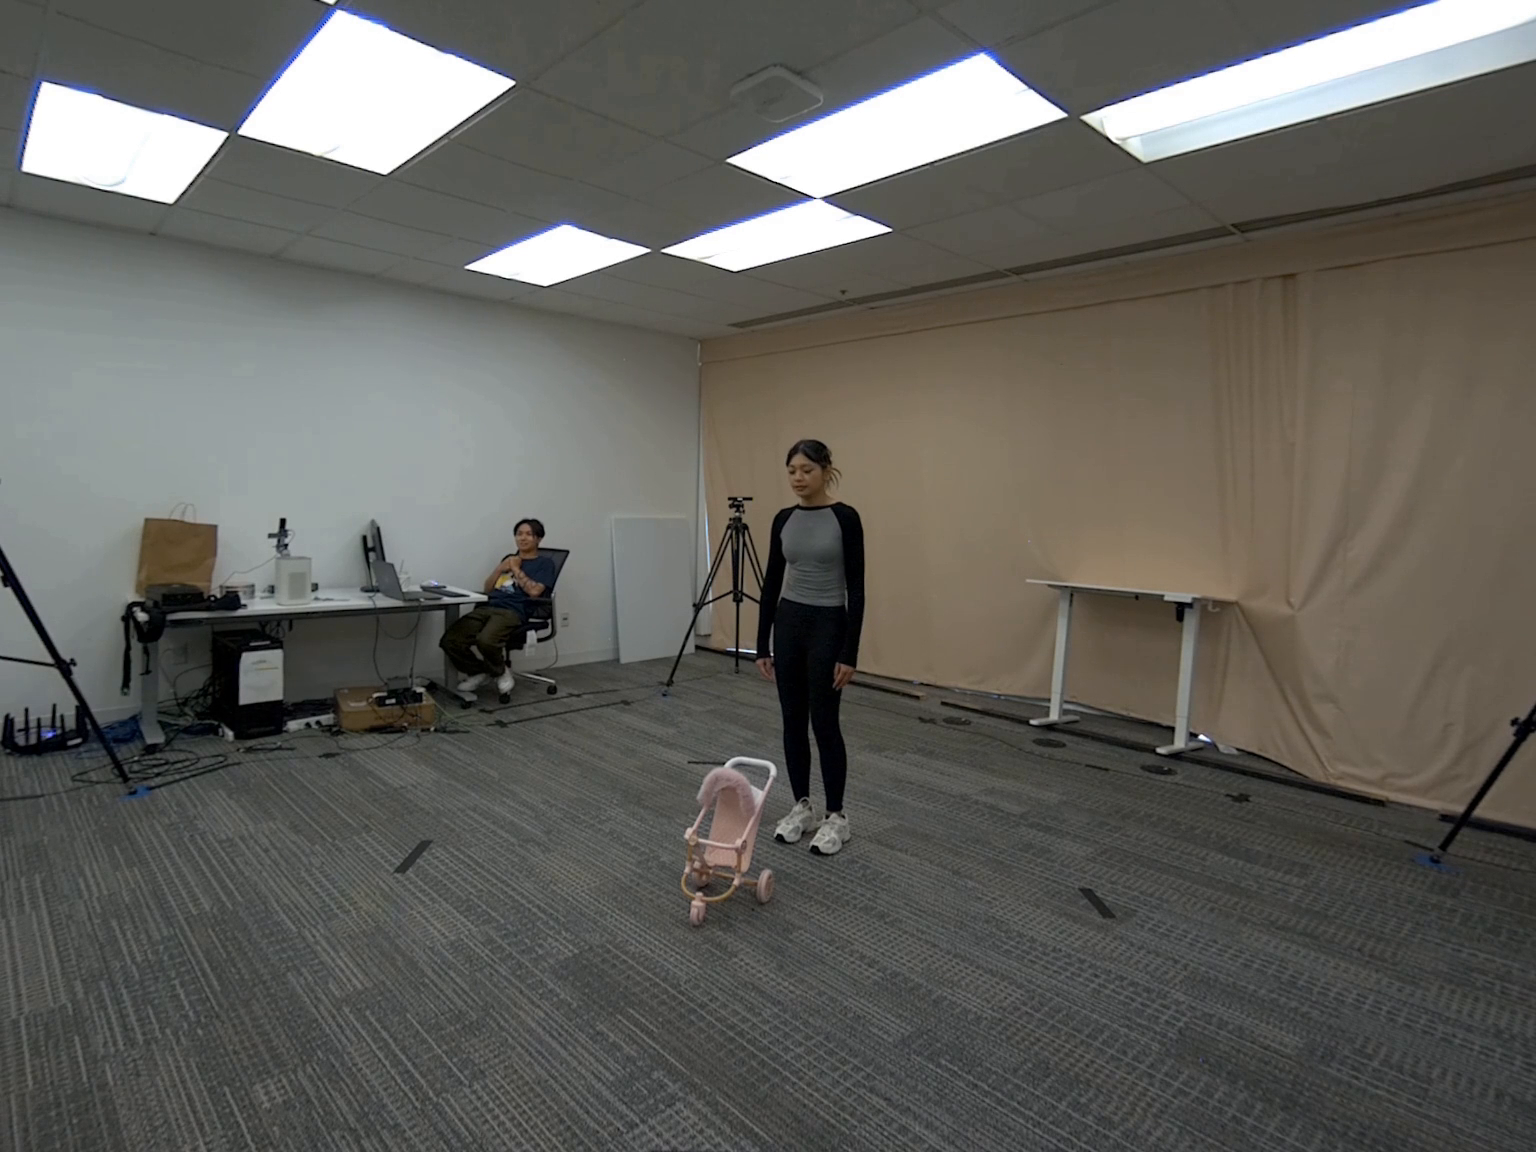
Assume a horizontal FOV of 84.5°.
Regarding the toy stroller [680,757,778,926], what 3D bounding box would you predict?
[{"bbox_3d":[-0.155,0.901,2.898,0.287,0.538,0.332,2,-11,30],"label":"toy stroller"}]
